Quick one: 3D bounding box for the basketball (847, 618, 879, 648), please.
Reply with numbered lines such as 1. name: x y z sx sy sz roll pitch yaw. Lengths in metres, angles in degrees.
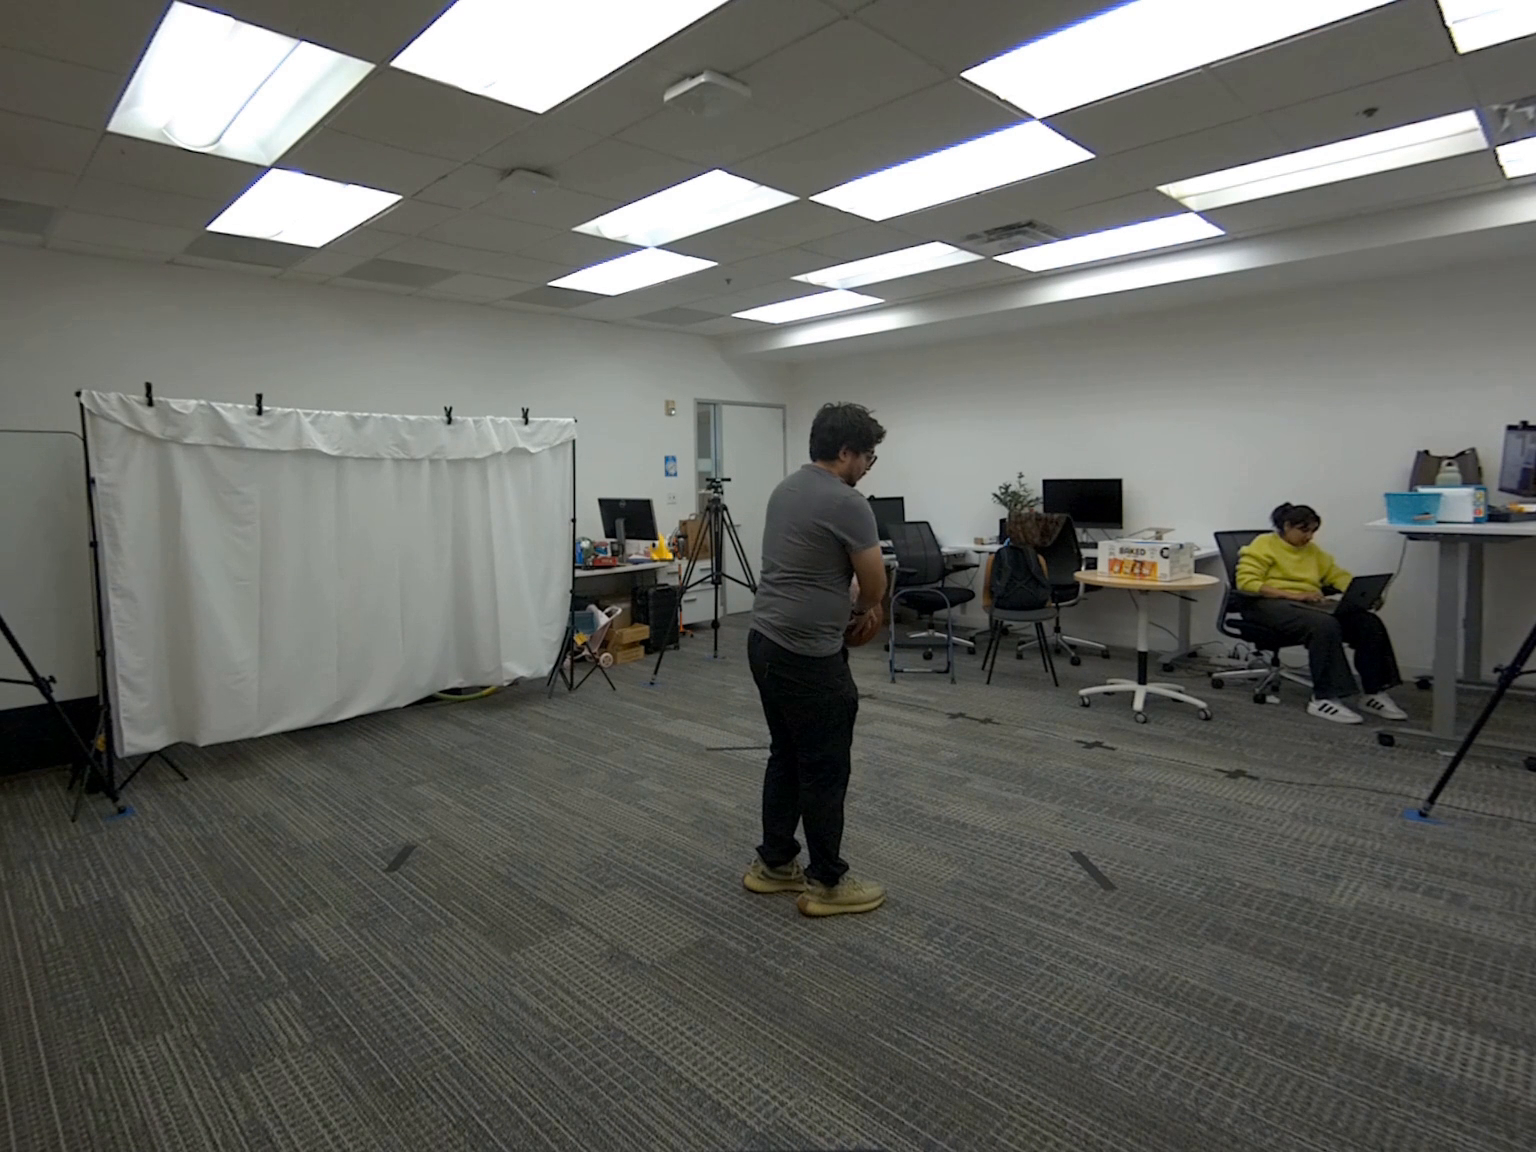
1. basketball: 0.311 0.144 3.161 0.236 0.235 0.237 -1 5 -2
